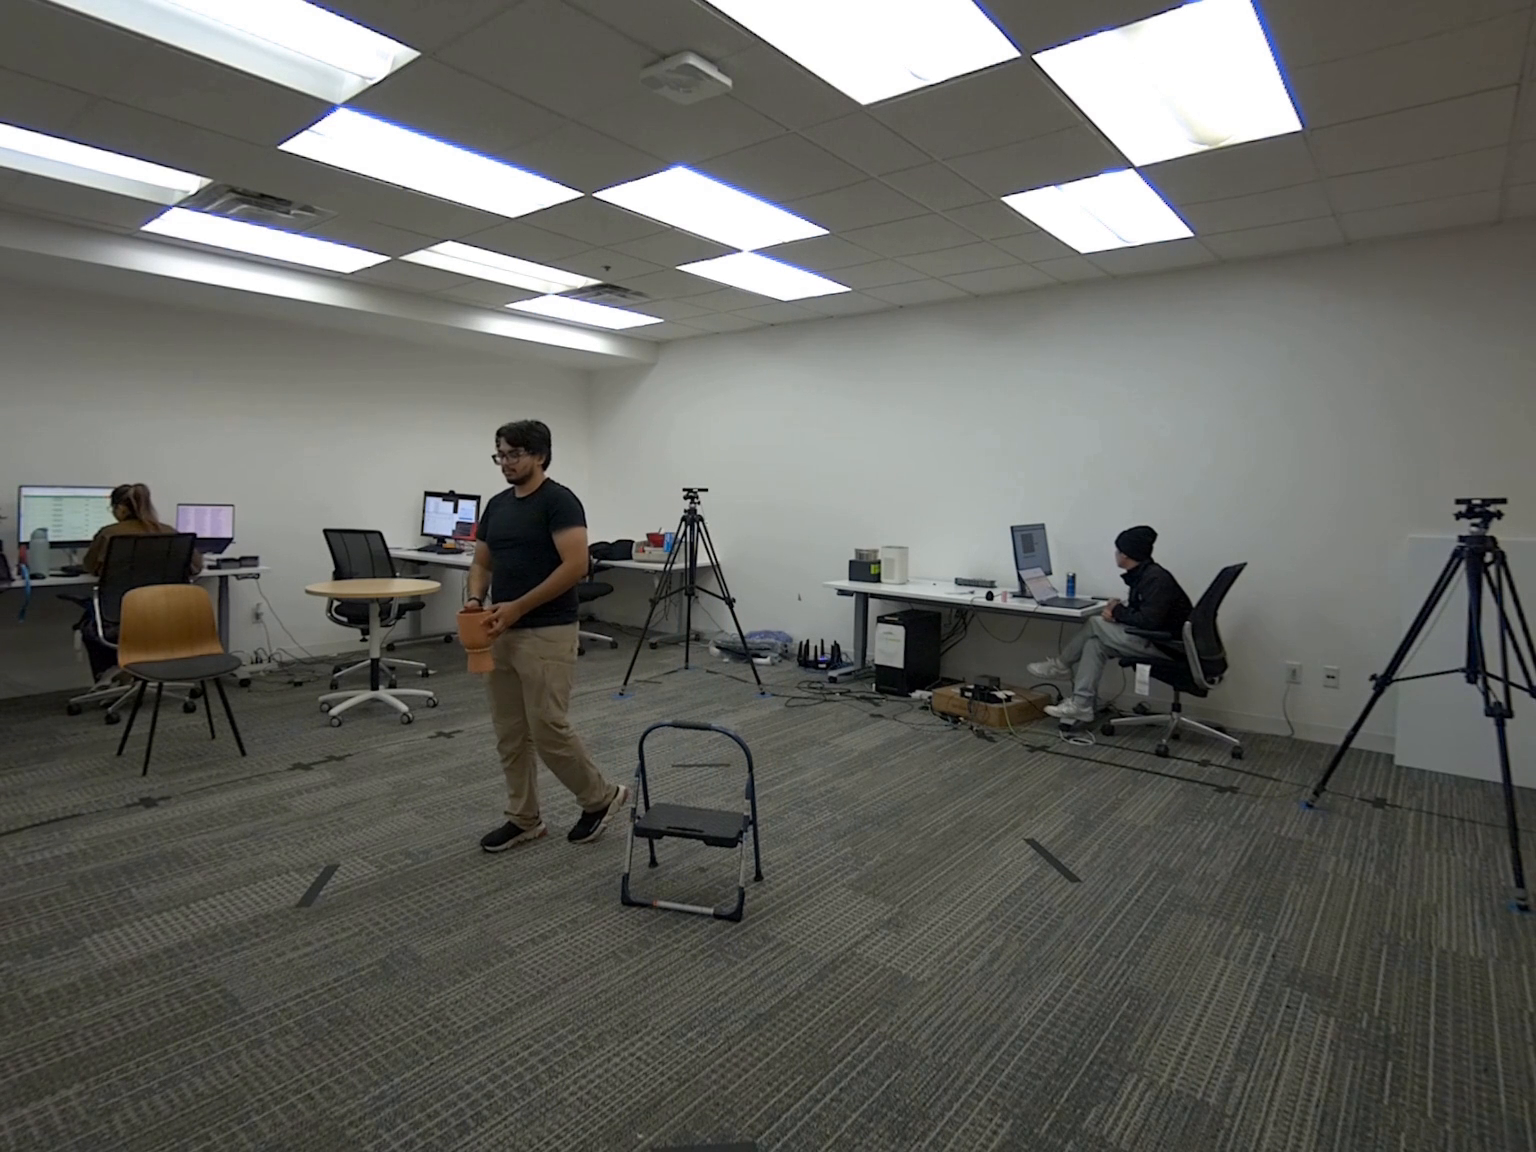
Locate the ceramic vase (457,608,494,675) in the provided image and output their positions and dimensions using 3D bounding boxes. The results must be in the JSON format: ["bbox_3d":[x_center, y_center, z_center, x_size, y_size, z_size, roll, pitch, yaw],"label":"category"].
[{"bbox_3d":[-1.065,0.232,3.096,0.131,0.218,0.163,-7,7,-27],"label":"ceramic vase"}]
